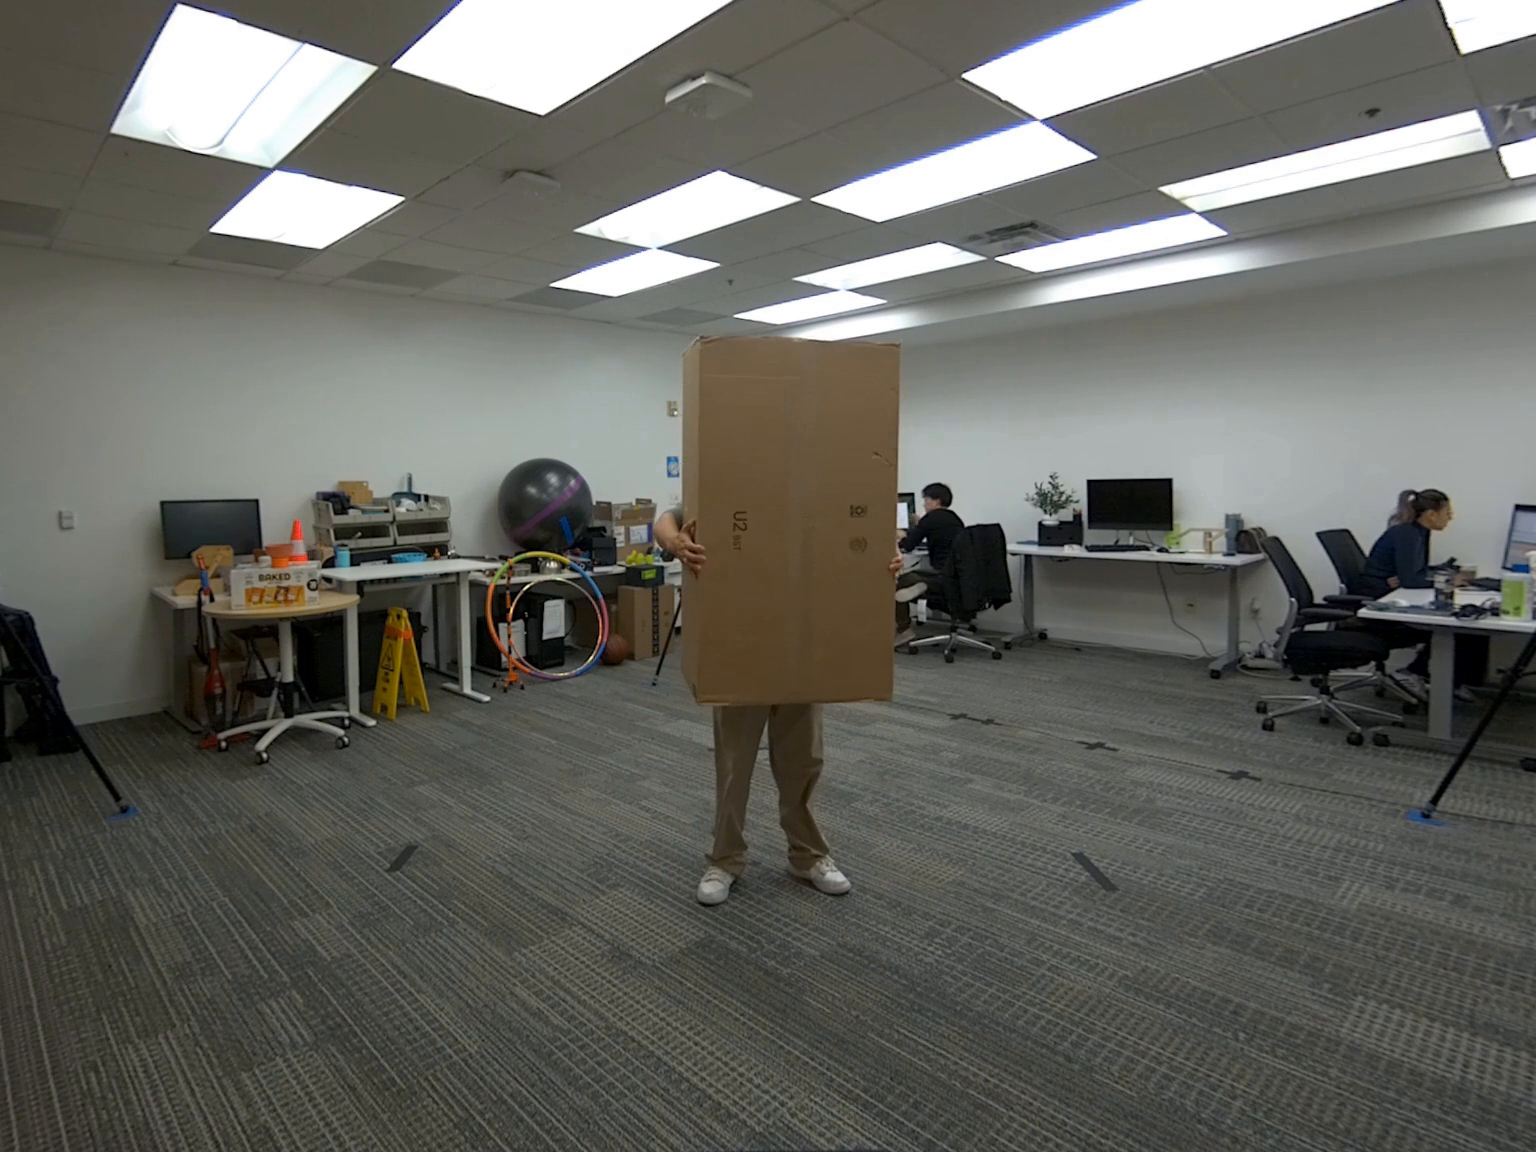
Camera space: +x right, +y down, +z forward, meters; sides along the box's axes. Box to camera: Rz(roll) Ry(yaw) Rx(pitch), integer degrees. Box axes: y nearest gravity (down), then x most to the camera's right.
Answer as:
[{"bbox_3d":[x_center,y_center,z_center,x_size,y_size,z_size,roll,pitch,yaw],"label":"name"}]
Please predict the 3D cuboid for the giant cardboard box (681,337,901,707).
[{"bbox_3d":[0.047,-0.173,2.580,0.573,1.022,0.431,0,4,-9],"label":"giant cardboard box"}]
